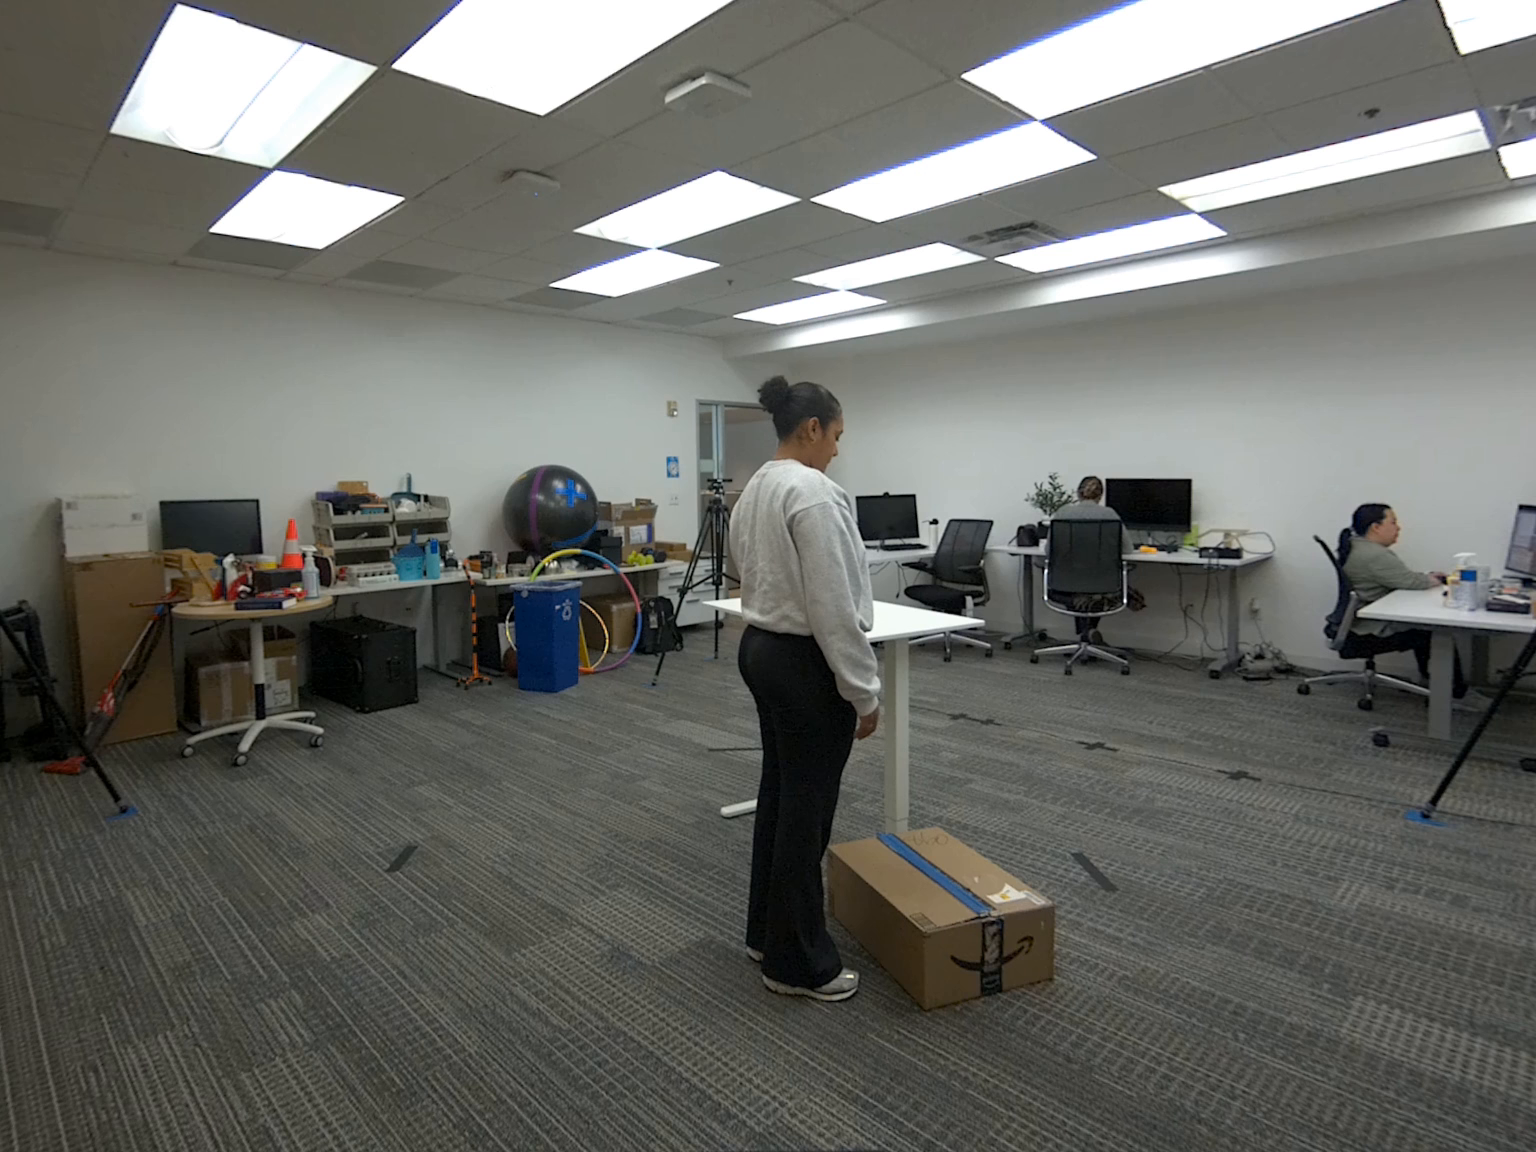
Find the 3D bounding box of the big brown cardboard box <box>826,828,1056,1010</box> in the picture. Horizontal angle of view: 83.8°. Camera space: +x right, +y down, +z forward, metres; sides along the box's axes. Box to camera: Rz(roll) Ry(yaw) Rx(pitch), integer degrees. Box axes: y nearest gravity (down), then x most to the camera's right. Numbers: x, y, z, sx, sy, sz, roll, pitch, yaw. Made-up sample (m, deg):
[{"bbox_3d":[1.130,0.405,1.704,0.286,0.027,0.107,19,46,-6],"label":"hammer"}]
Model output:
[{"bbox_3d":[0.499,0.991,2.547,0.410,0.232,0.602,-3,6,-22],"label":"big brown cardboard box"}]
